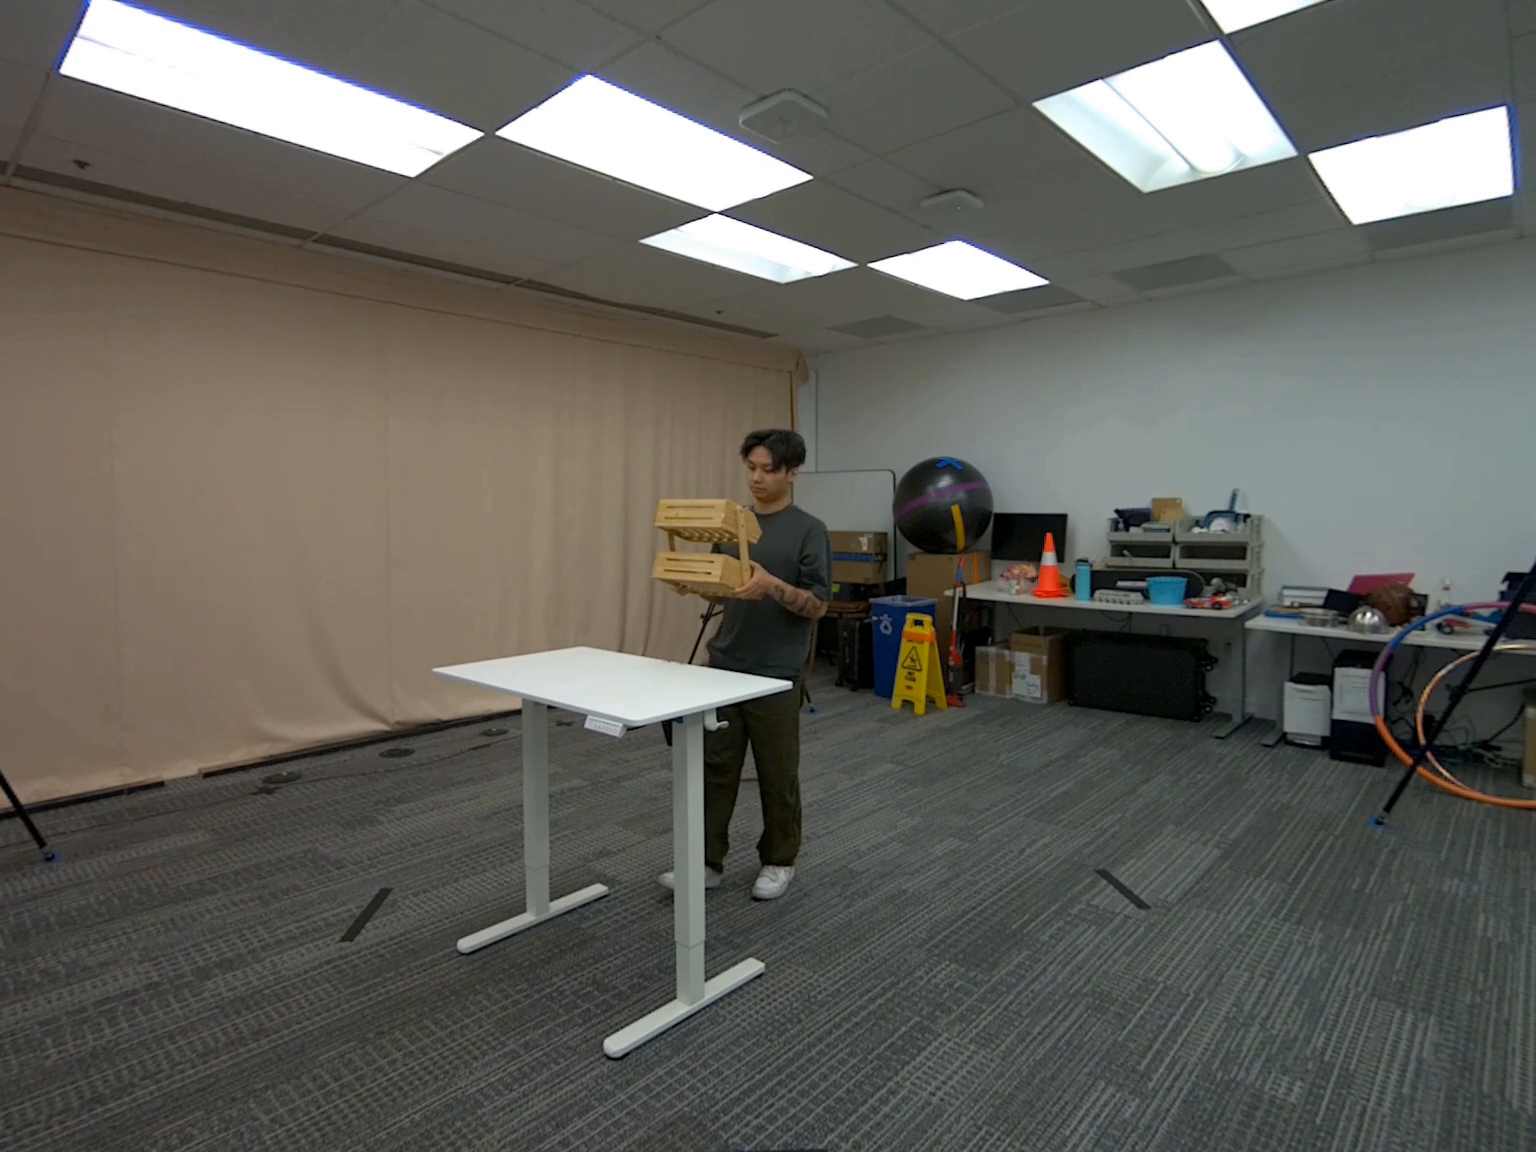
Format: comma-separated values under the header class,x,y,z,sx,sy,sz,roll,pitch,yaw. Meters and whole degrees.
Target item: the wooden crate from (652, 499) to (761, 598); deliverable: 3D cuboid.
class,x,y,z,sx,sy,sz,roll,pitch,yaw
wooden crate,-0.195,-0.093,2.844,0.335,0.274,0.291,3,-14,37
